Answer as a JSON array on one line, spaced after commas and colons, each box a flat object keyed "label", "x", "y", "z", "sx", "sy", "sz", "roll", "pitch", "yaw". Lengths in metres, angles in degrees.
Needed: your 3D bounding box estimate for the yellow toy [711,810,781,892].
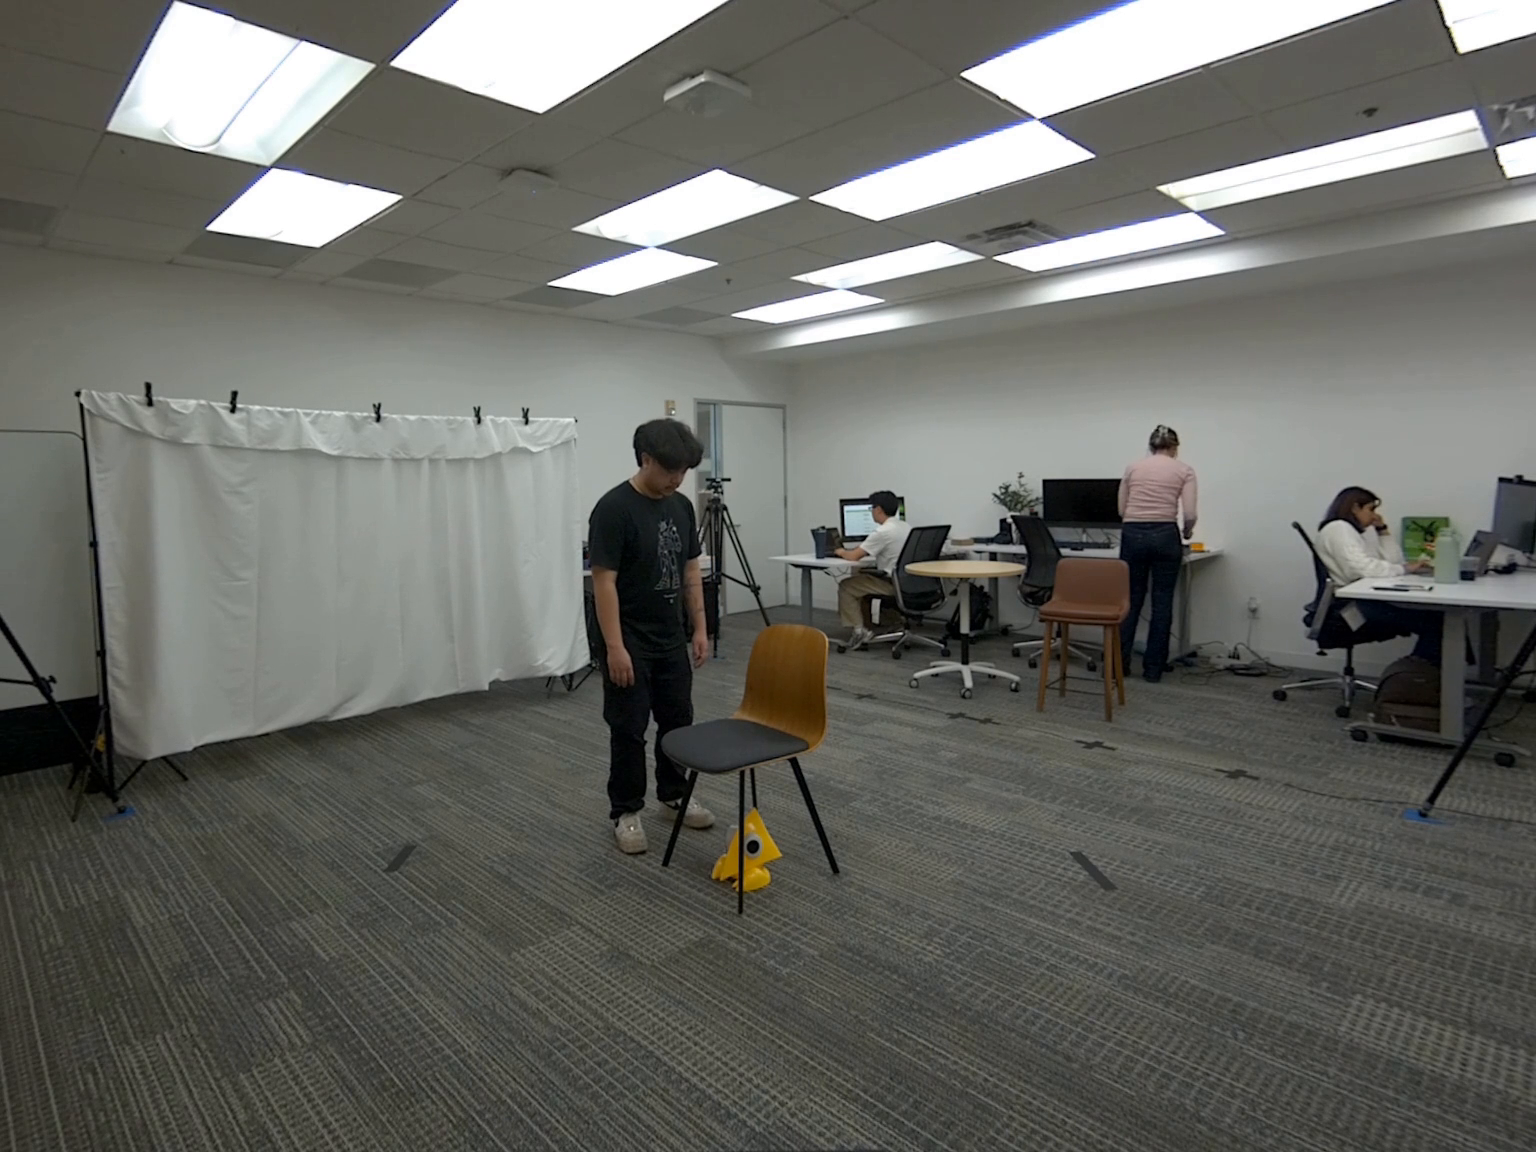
[{"label": "yellow toy", "x": -0.085, "y": 0.946, "z": 2.990, "sx": 0.188, "sy": 0.230, "sz": 0.211, "roll": -6, "pitch": 7, "yaw": -43}]
